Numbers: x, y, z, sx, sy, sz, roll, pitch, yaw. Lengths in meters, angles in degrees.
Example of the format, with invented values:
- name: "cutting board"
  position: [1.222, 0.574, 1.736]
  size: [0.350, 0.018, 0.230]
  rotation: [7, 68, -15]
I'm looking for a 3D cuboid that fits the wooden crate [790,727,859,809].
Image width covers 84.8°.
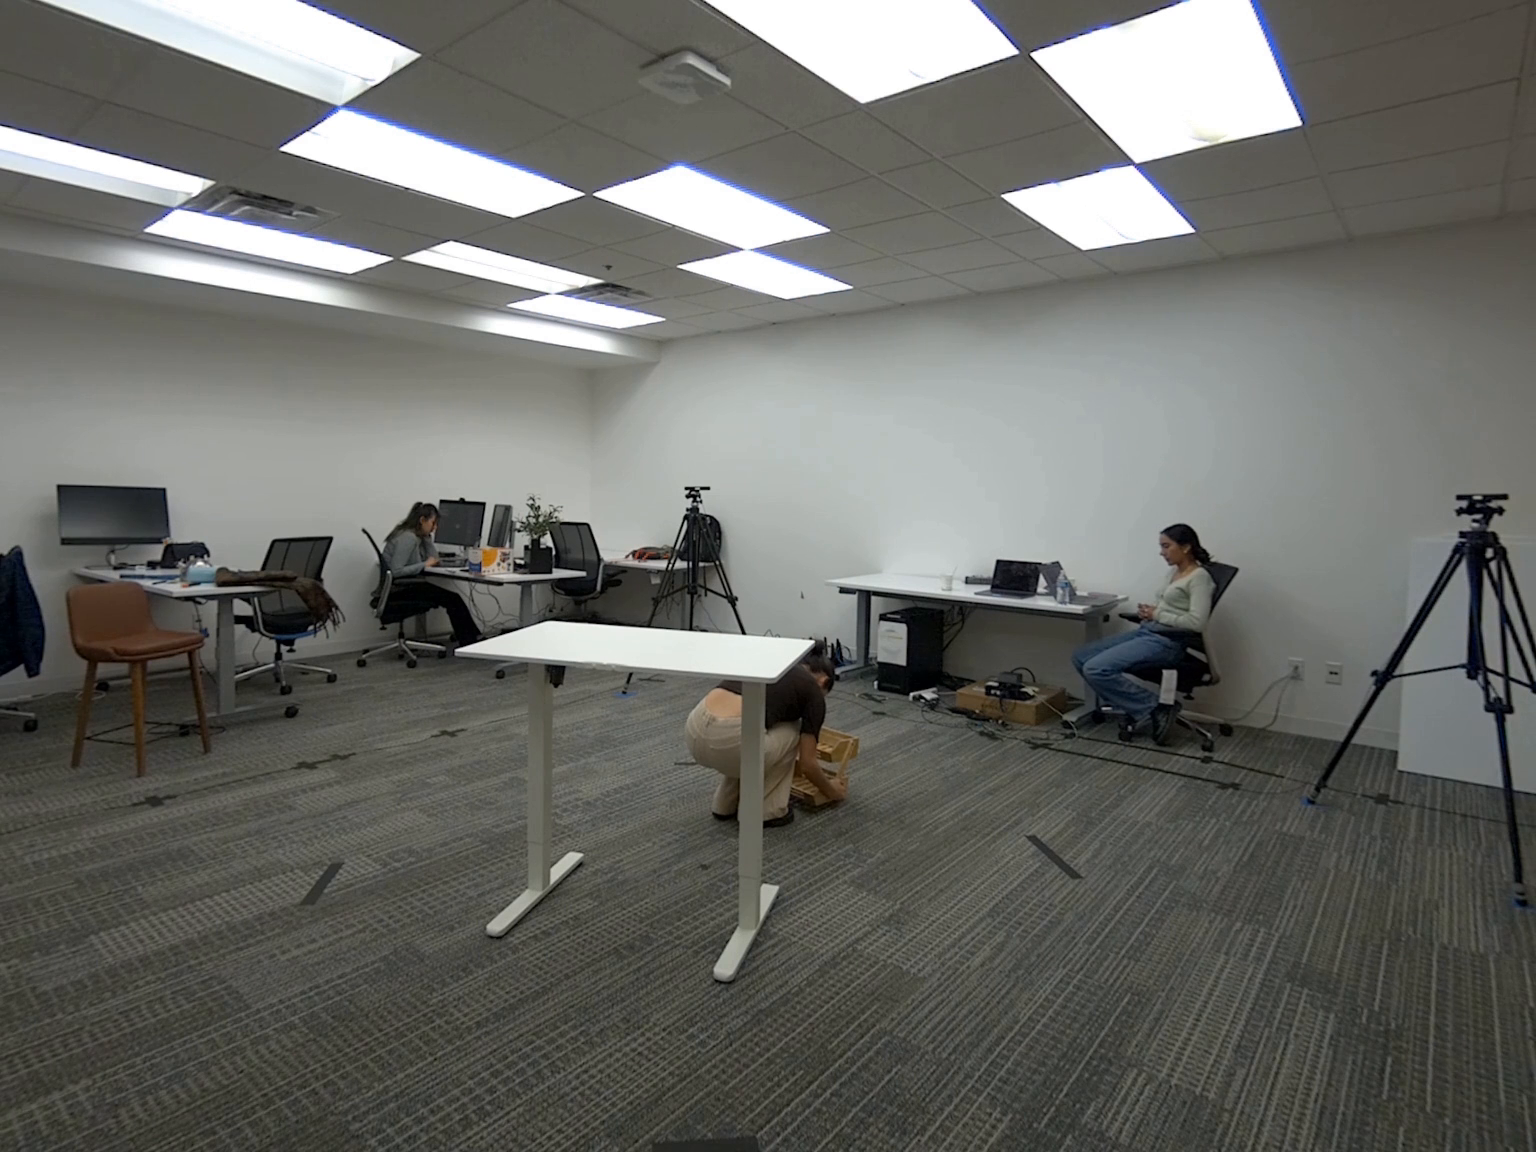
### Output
- name: "wooden crate"
  position: [0.183, 0.836, 3.859]
  size: [0.336, 0.273, 0.292]
  rotation: [9, 4, 42]
